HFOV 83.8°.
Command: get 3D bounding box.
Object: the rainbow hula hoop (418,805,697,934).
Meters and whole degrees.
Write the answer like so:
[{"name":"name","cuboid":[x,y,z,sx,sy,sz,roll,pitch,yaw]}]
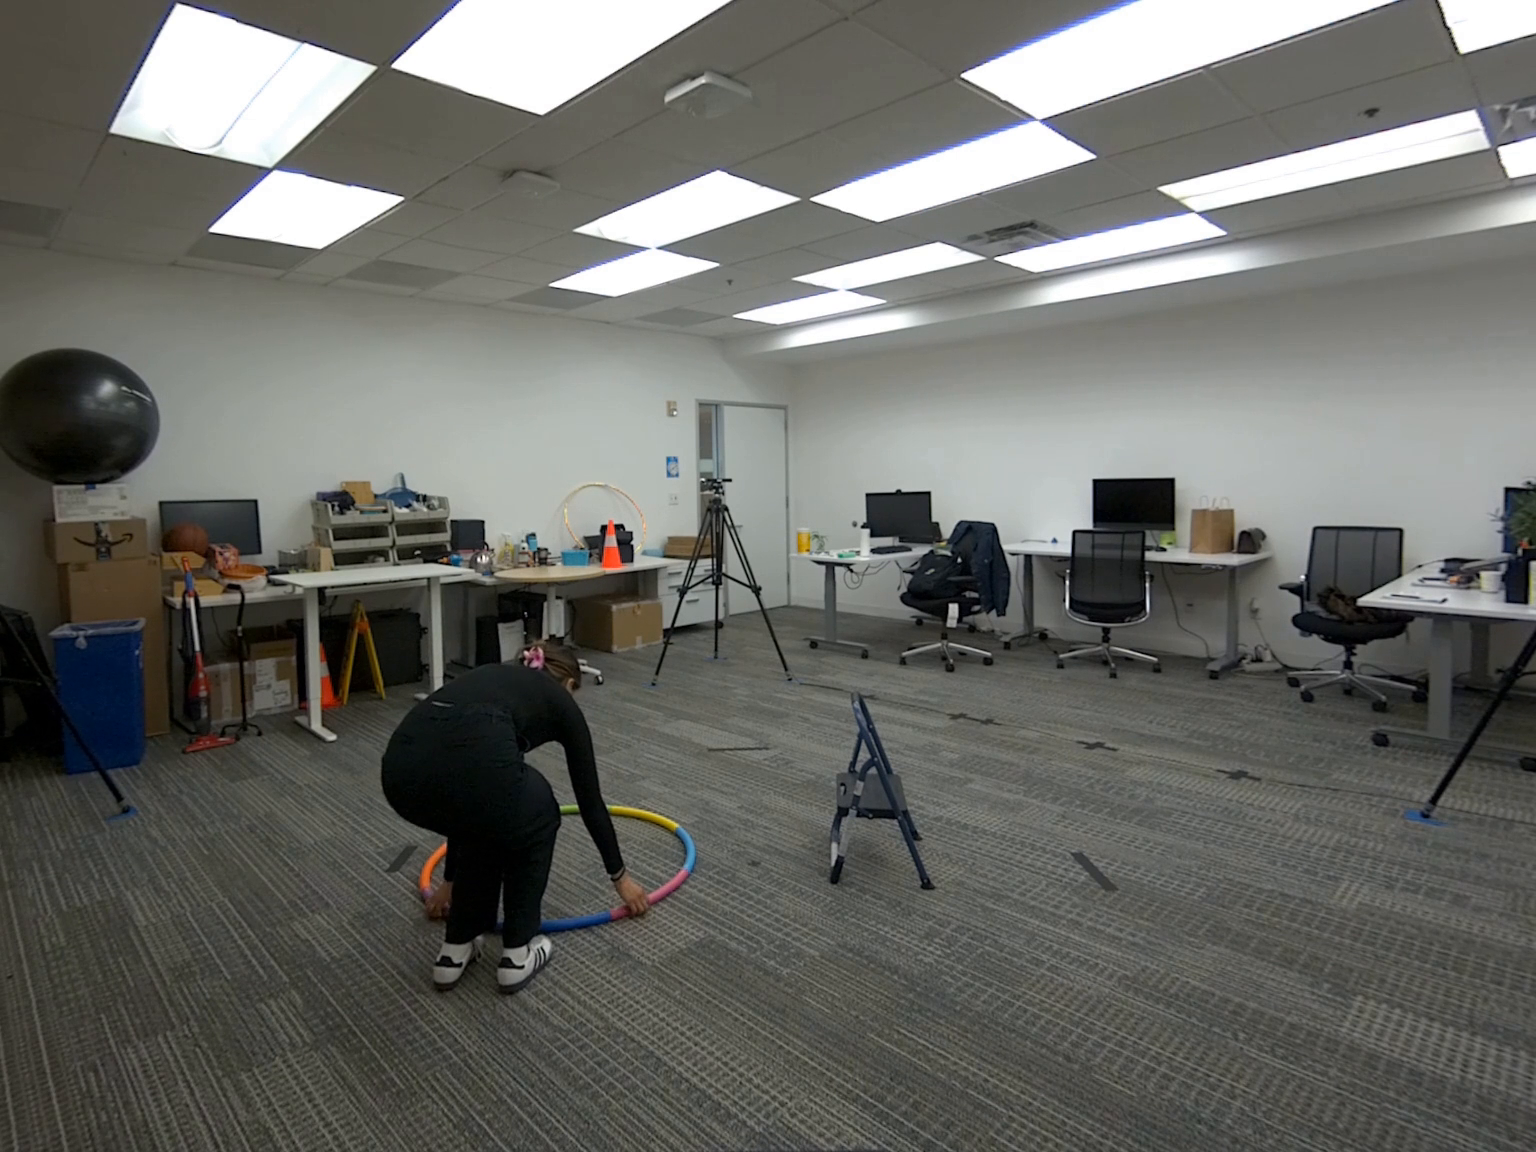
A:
[{"name":"rainbow hula hoop","cuboid":[-0.750,1.019,3.133,0.978,0.035,0.984,-1,6,-2]}]
